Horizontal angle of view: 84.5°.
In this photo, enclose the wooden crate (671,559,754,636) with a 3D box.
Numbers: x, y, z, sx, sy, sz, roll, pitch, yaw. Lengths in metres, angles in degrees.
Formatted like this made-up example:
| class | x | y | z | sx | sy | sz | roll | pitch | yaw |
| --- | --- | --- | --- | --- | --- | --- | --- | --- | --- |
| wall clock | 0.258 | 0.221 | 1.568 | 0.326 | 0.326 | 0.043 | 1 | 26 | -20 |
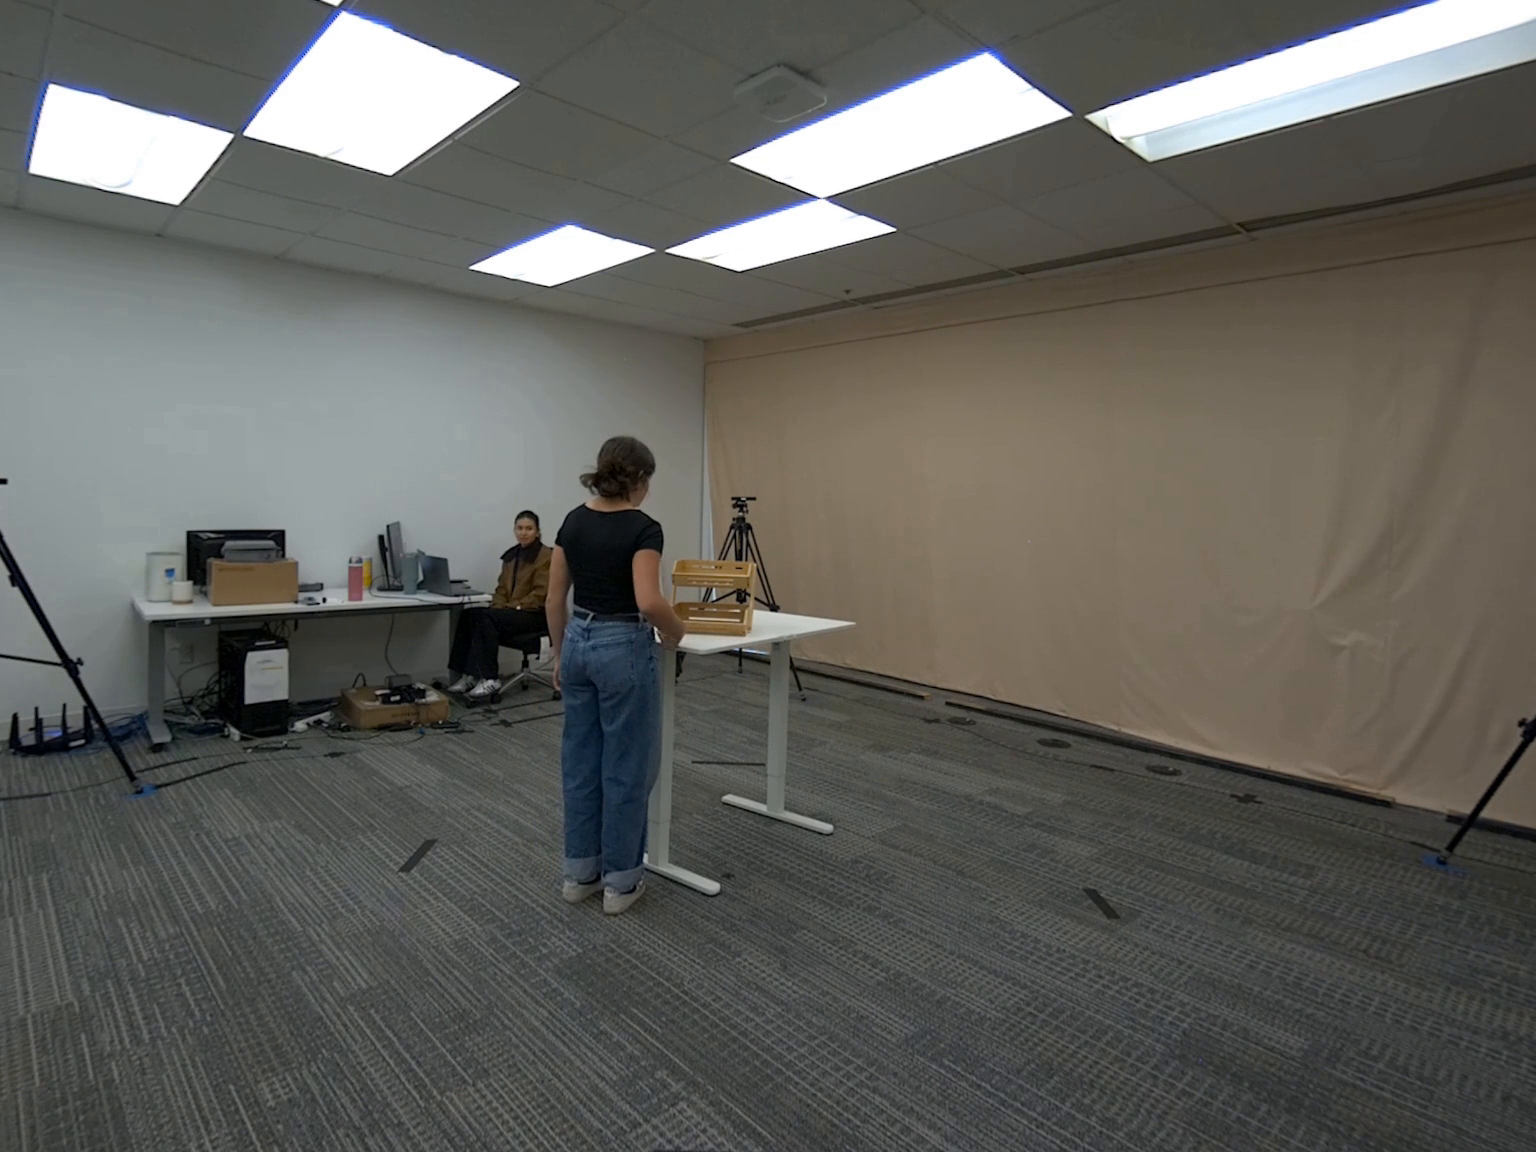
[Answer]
| class | x | y | z | sx | sy | sz | roll | pitch | yaw |
| --- | --- | --- | --- | --- | --- | --- | --- | --- | --- |
| wooden crate | -0.228 | 0.082 | 3.263 | 0.326 | 0.272 | 0.302 | 3 | 5 | 4 |
